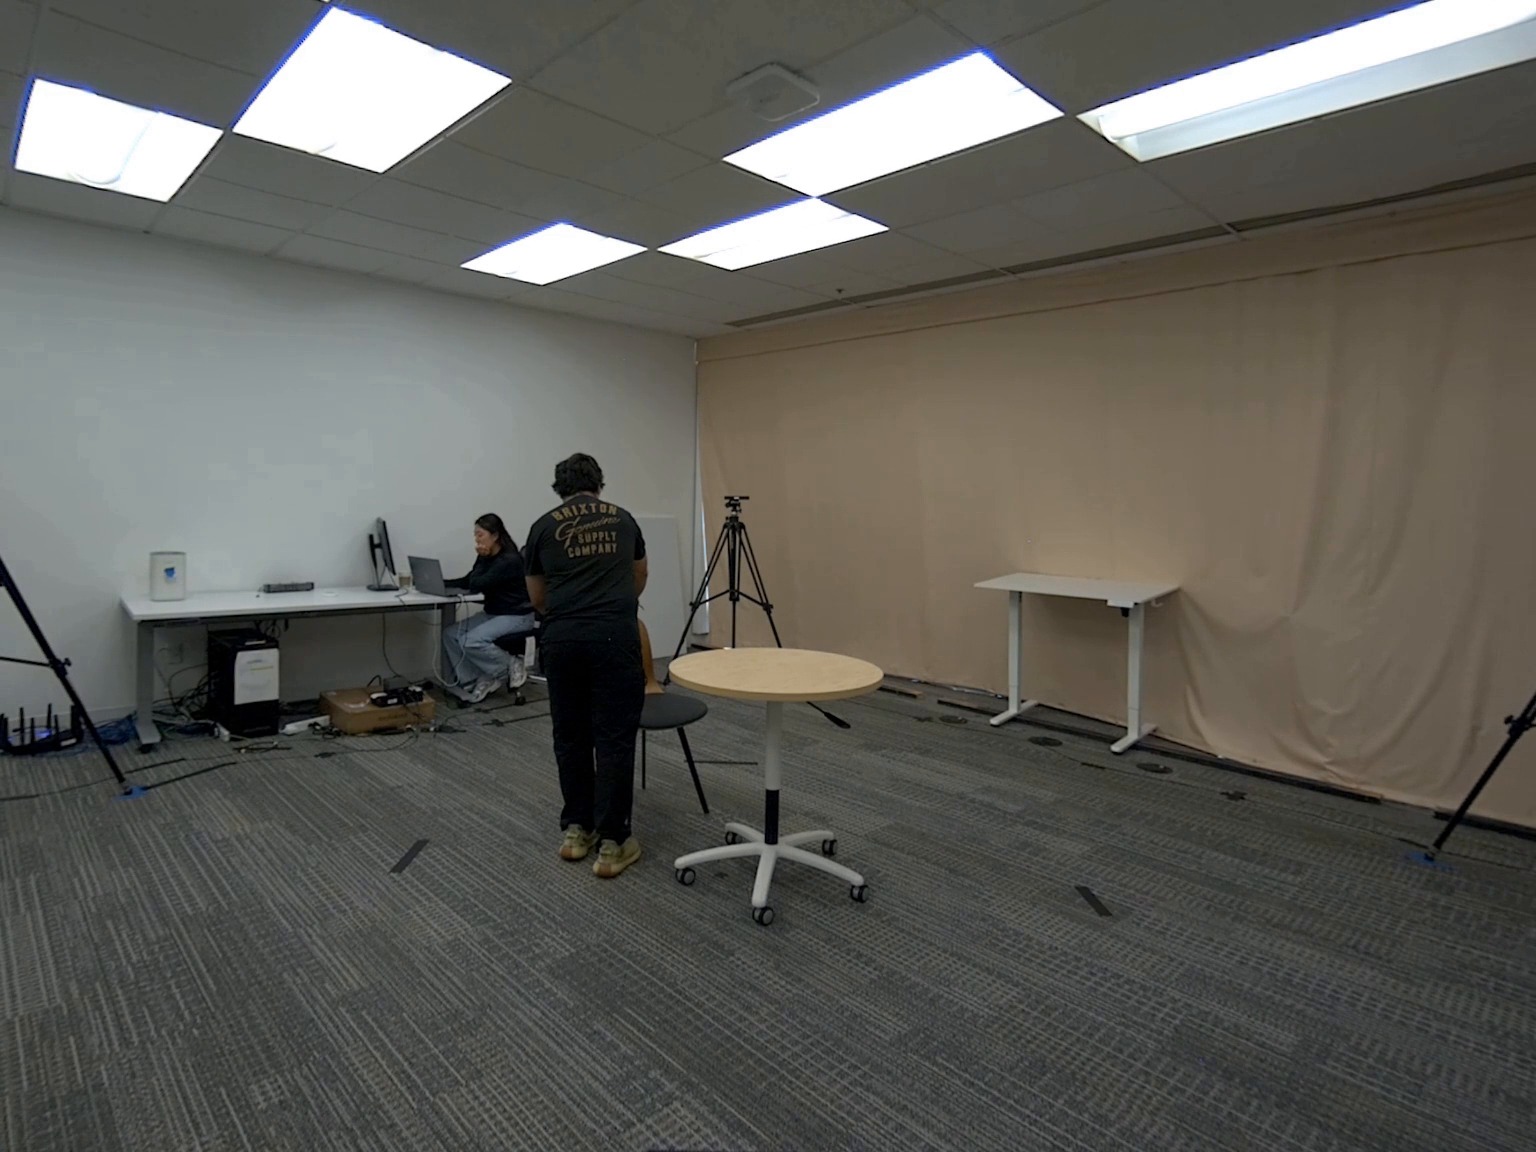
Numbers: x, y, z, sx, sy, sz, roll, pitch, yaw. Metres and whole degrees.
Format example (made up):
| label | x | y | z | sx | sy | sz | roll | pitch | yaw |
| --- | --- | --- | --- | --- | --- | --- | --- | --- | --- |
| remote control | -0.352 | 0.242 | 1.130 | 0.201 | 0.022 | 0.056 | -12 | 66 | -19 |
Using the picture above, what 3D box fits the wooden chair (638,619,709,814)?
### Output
| label | x | y | z | sx | sy | sz | roll | pitch | yaw |
| --- | --- | --- | --- | --- | --- | --- | --- | --- | --- |
| wooden chair | -0.566 | 0.614 | 3.677 | 0.535 | 0.878 | 0.467 | -2 | 0 | 44 |
